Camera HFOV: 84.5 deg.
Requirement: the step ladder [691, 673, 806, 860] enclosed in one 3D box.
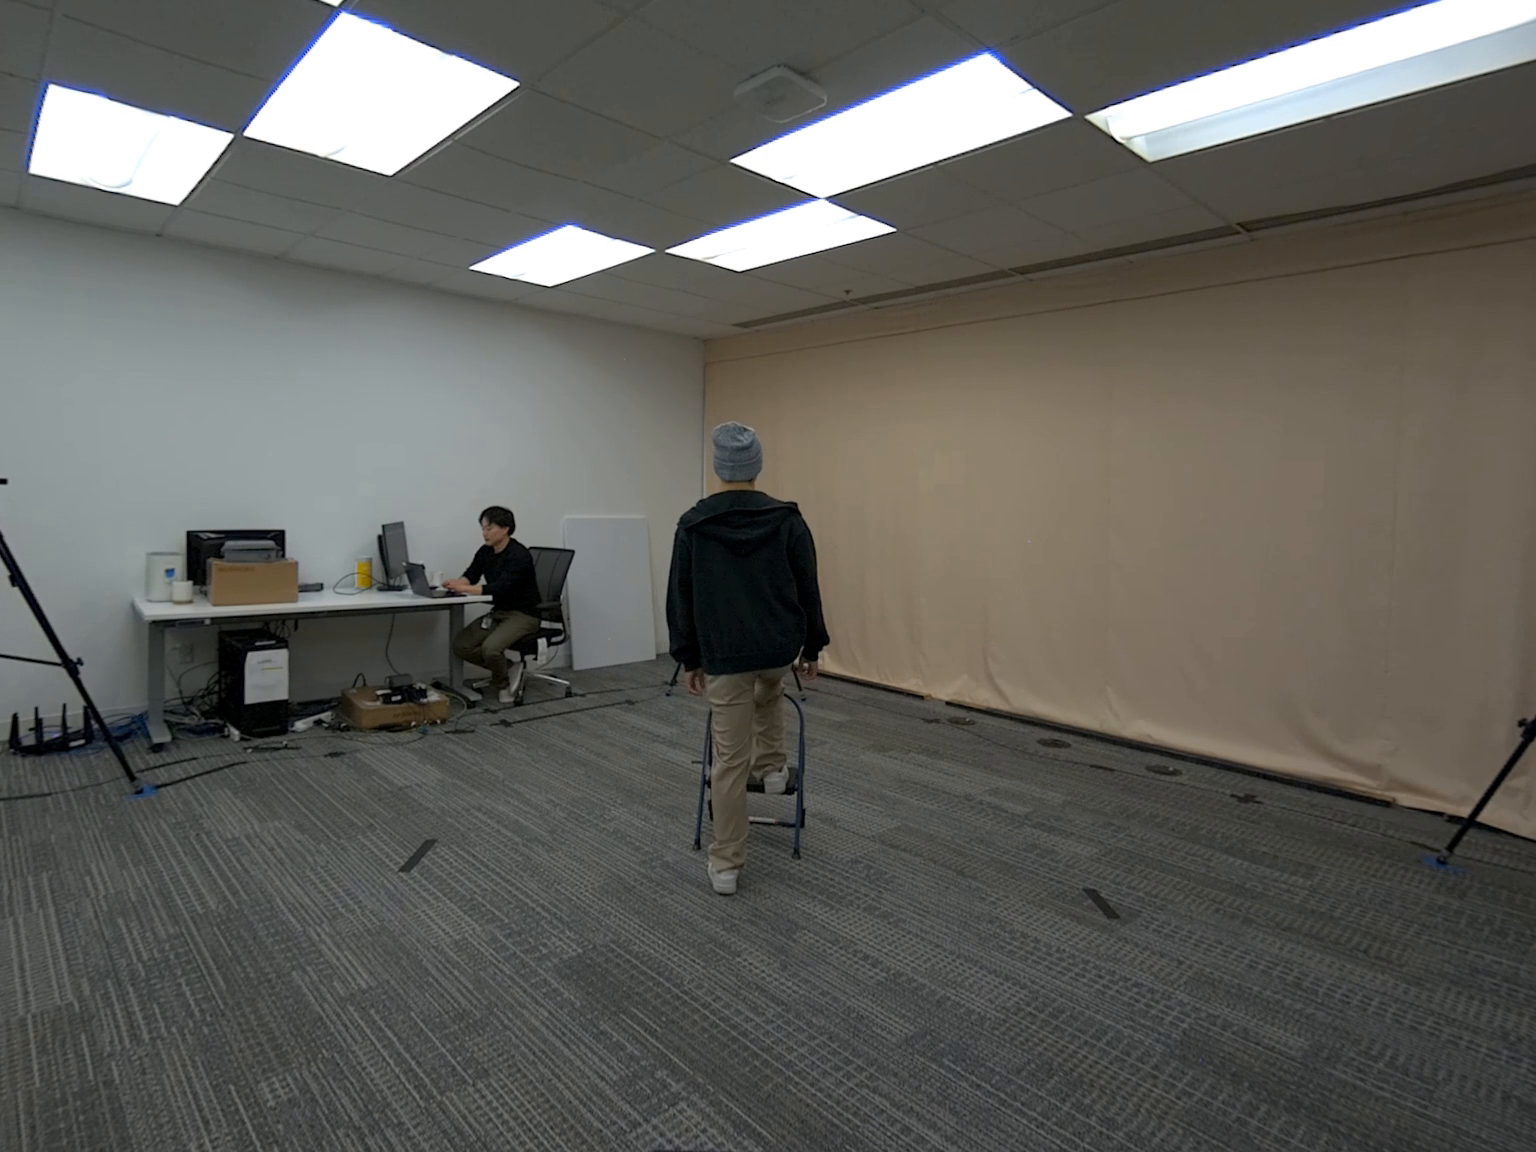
[{"bbox_3d":[-0.067,0.782,3.457,0.433,0.605,0.348,2,3,7],"label":"step ladder"}]
